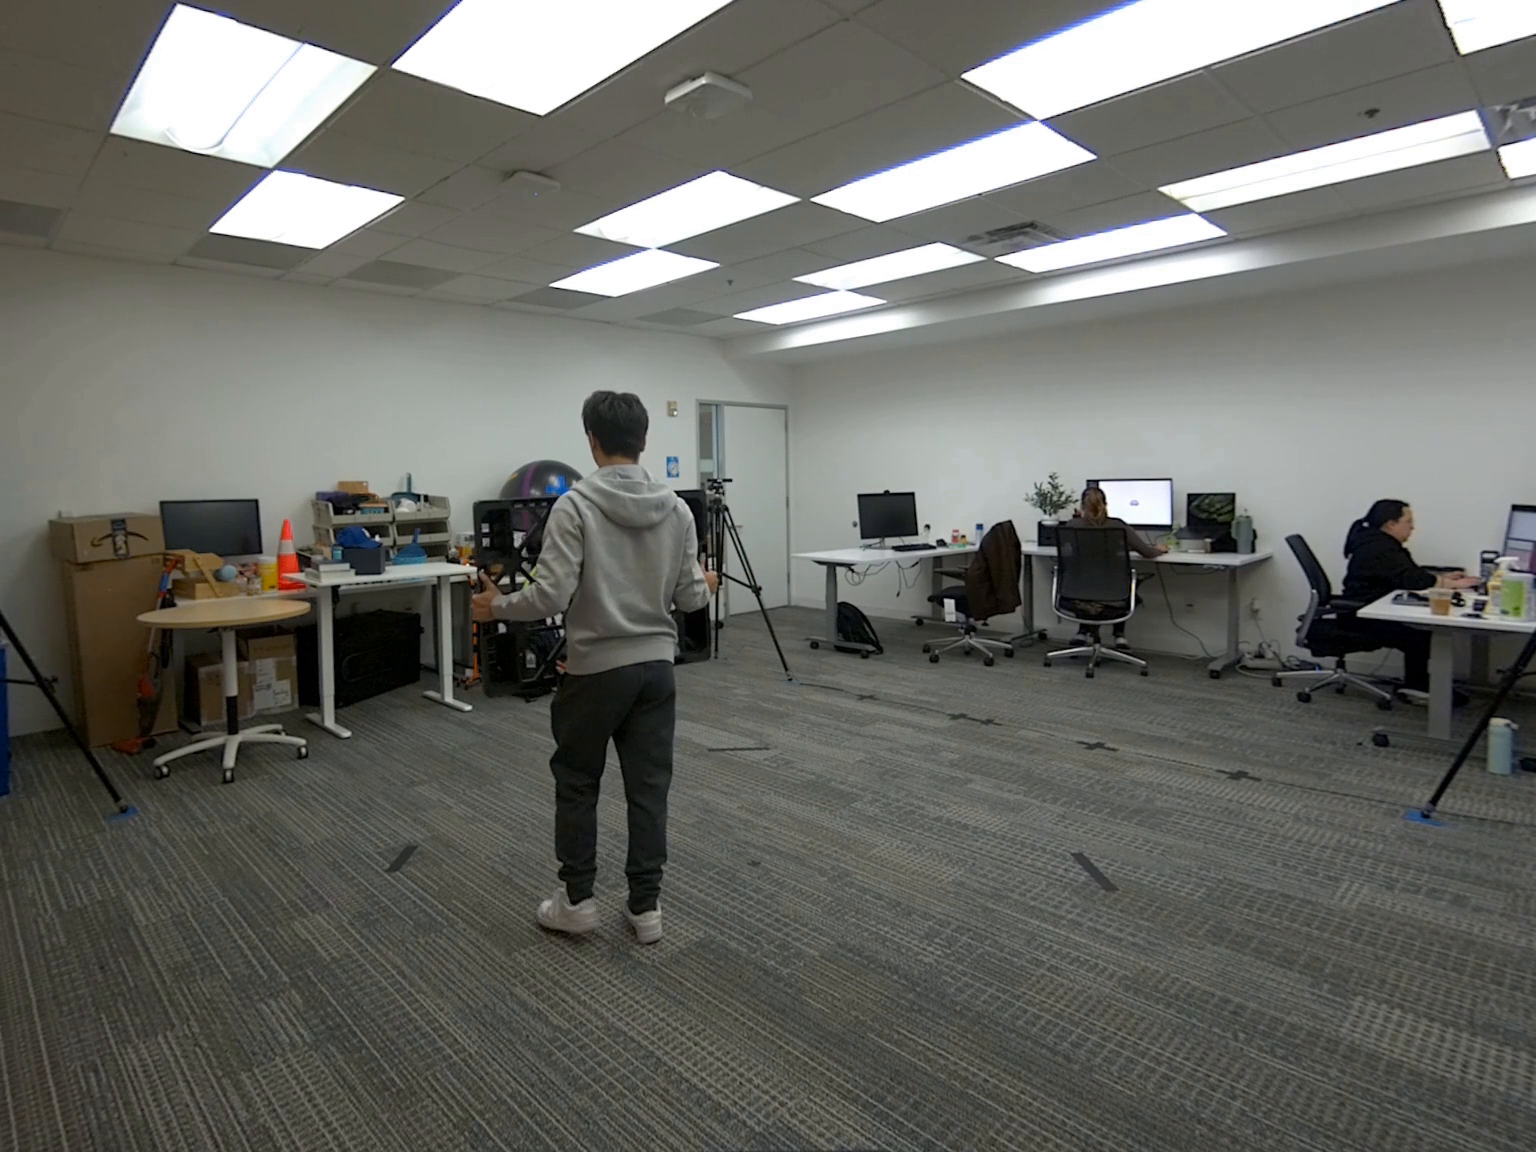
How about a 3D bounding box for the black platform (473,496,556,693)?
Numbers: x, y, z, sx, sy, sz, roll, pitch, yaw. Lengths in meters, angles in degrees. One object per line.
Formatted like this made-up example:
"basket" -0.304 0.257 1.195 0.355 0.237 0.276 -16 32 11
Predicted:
"black platform" -0.554 0.031 2.820 0.787 0.602 0.147 -6 7 -31
